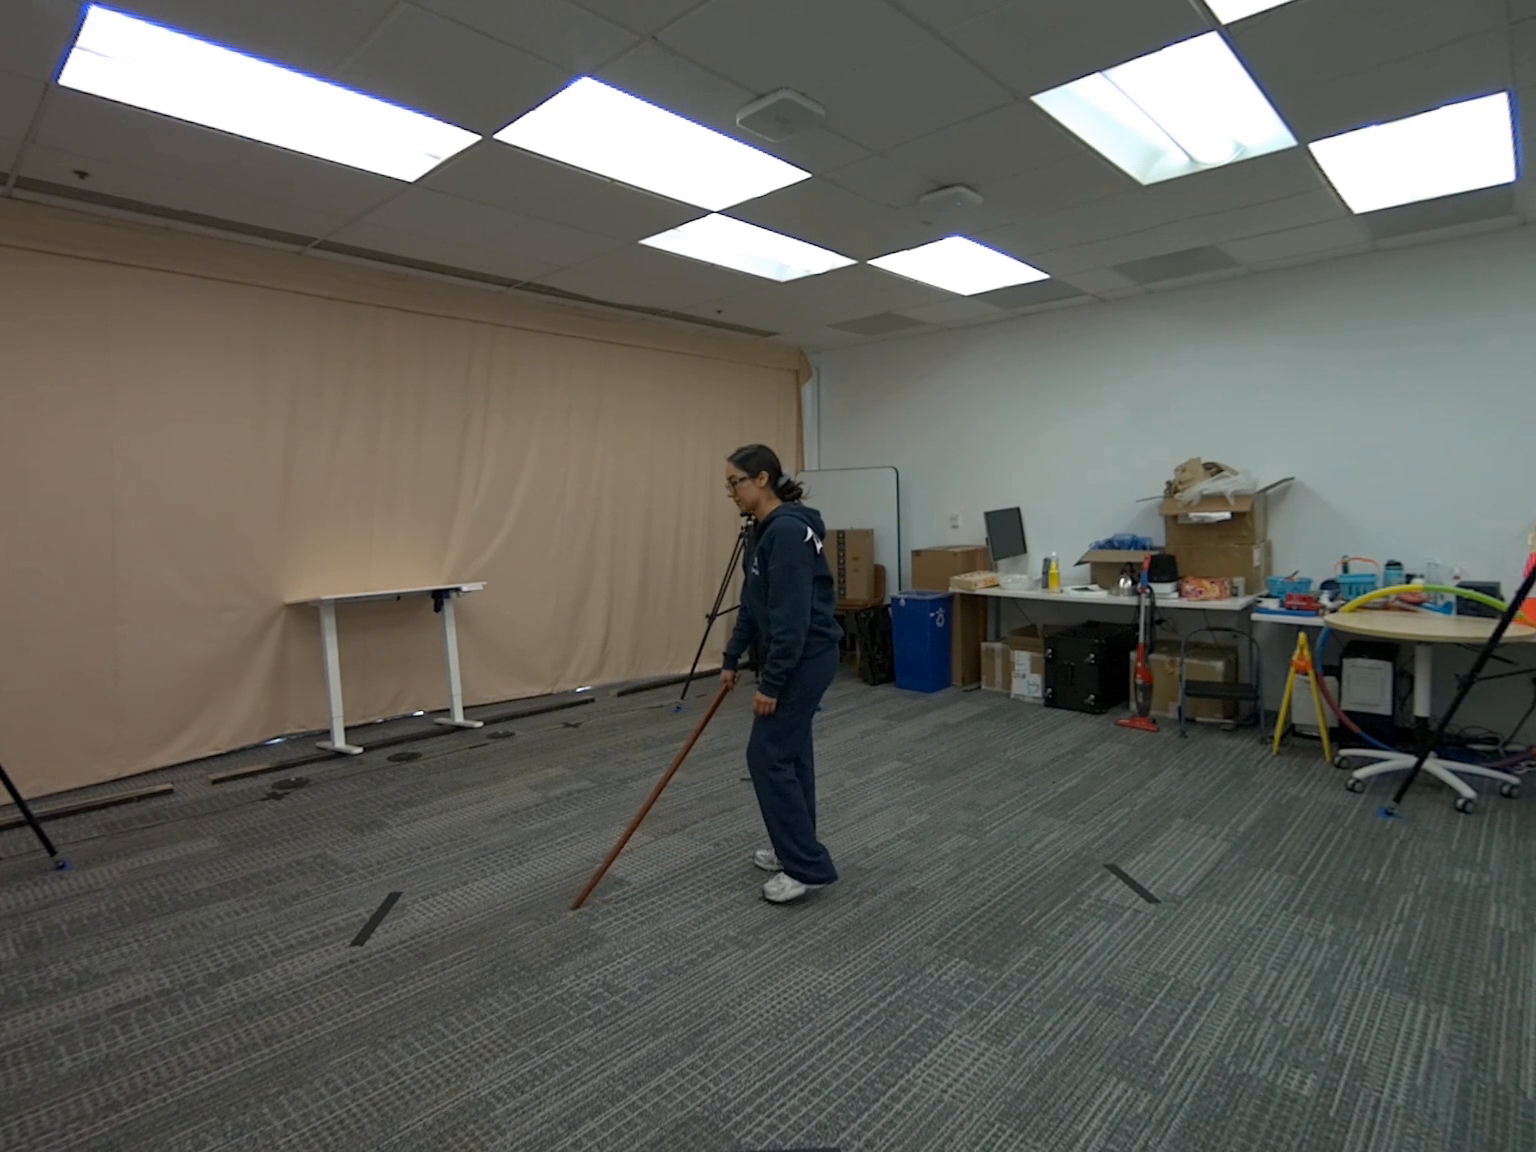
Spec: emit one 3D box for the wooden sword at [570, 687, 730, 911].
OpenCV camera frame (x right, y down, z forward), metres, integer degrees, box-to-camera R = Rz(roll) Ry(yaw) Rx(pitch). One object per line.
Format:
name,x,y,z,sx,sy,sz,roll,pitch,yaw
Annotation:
wooden sword,-0.390,0.771,3.103,0.023,1.022,0.053,46,-21,-26
